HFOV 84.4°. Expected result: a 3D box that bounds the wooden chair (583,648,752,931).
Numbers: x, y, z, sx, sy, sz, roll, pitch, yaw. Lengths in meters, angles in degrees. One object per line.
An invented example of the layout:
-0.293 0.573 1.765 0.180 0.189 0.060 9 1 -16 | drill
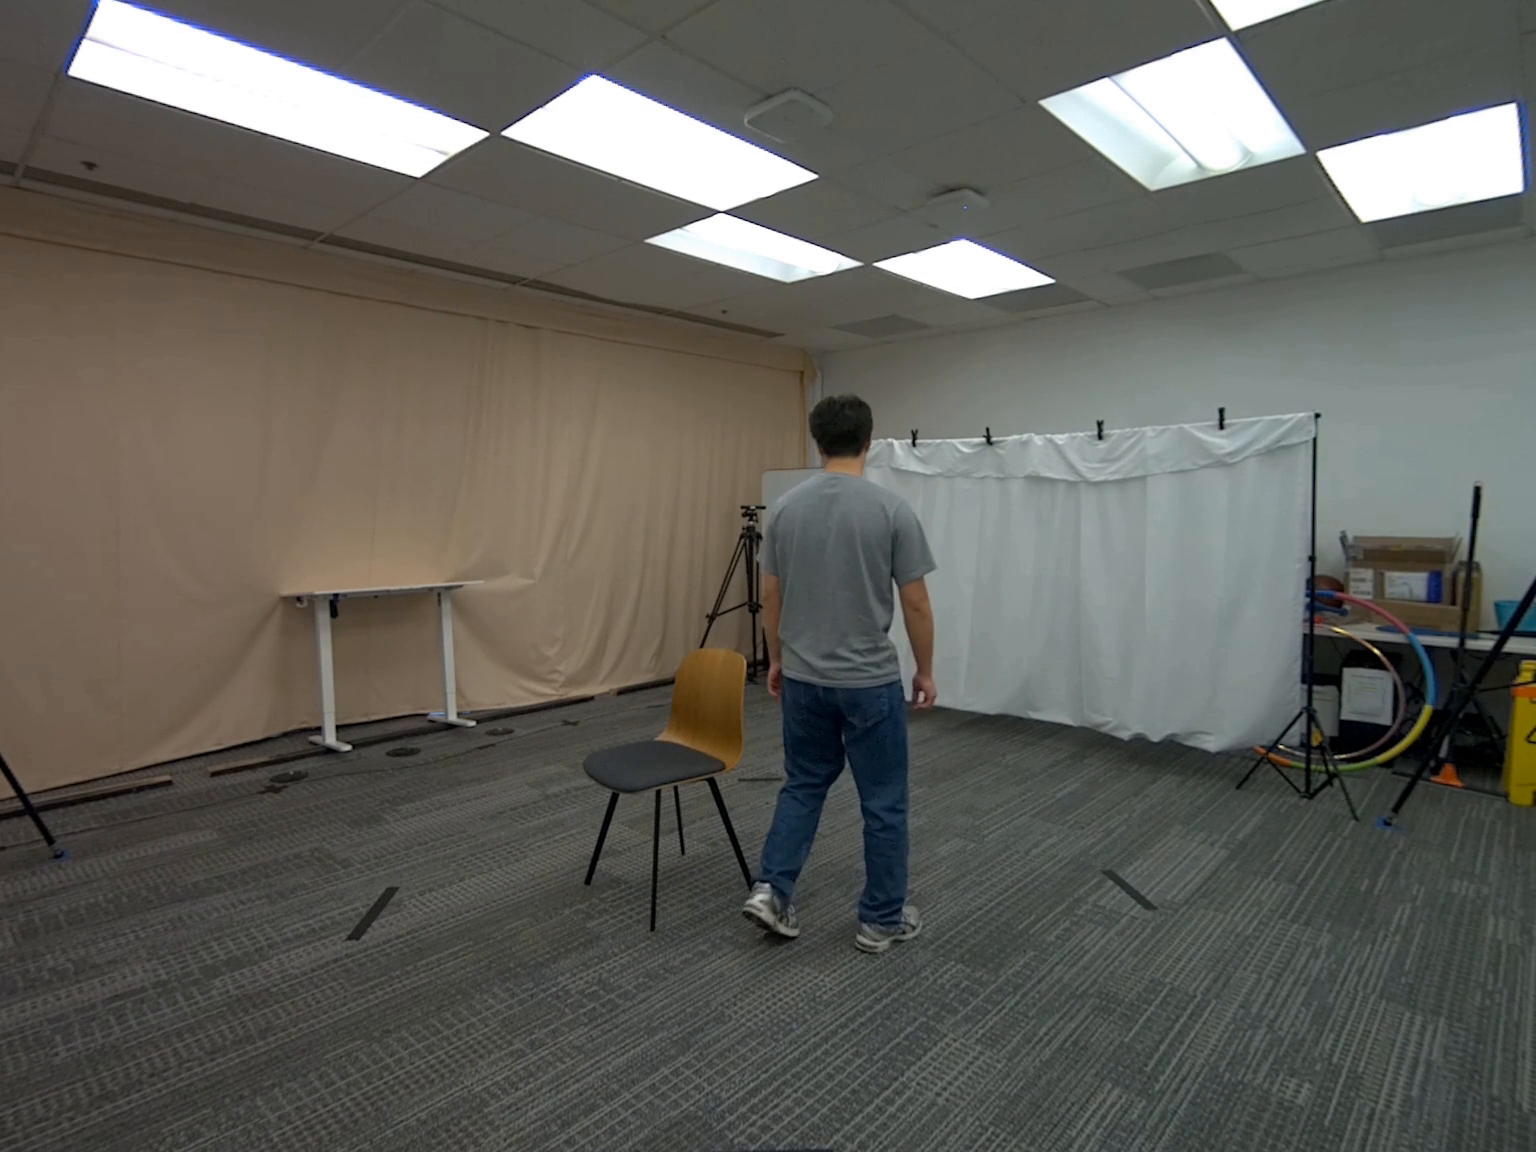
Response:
-0.369 0.716 3.037 0.506 0.877 0.494 2 1 -40 | wooden chair
